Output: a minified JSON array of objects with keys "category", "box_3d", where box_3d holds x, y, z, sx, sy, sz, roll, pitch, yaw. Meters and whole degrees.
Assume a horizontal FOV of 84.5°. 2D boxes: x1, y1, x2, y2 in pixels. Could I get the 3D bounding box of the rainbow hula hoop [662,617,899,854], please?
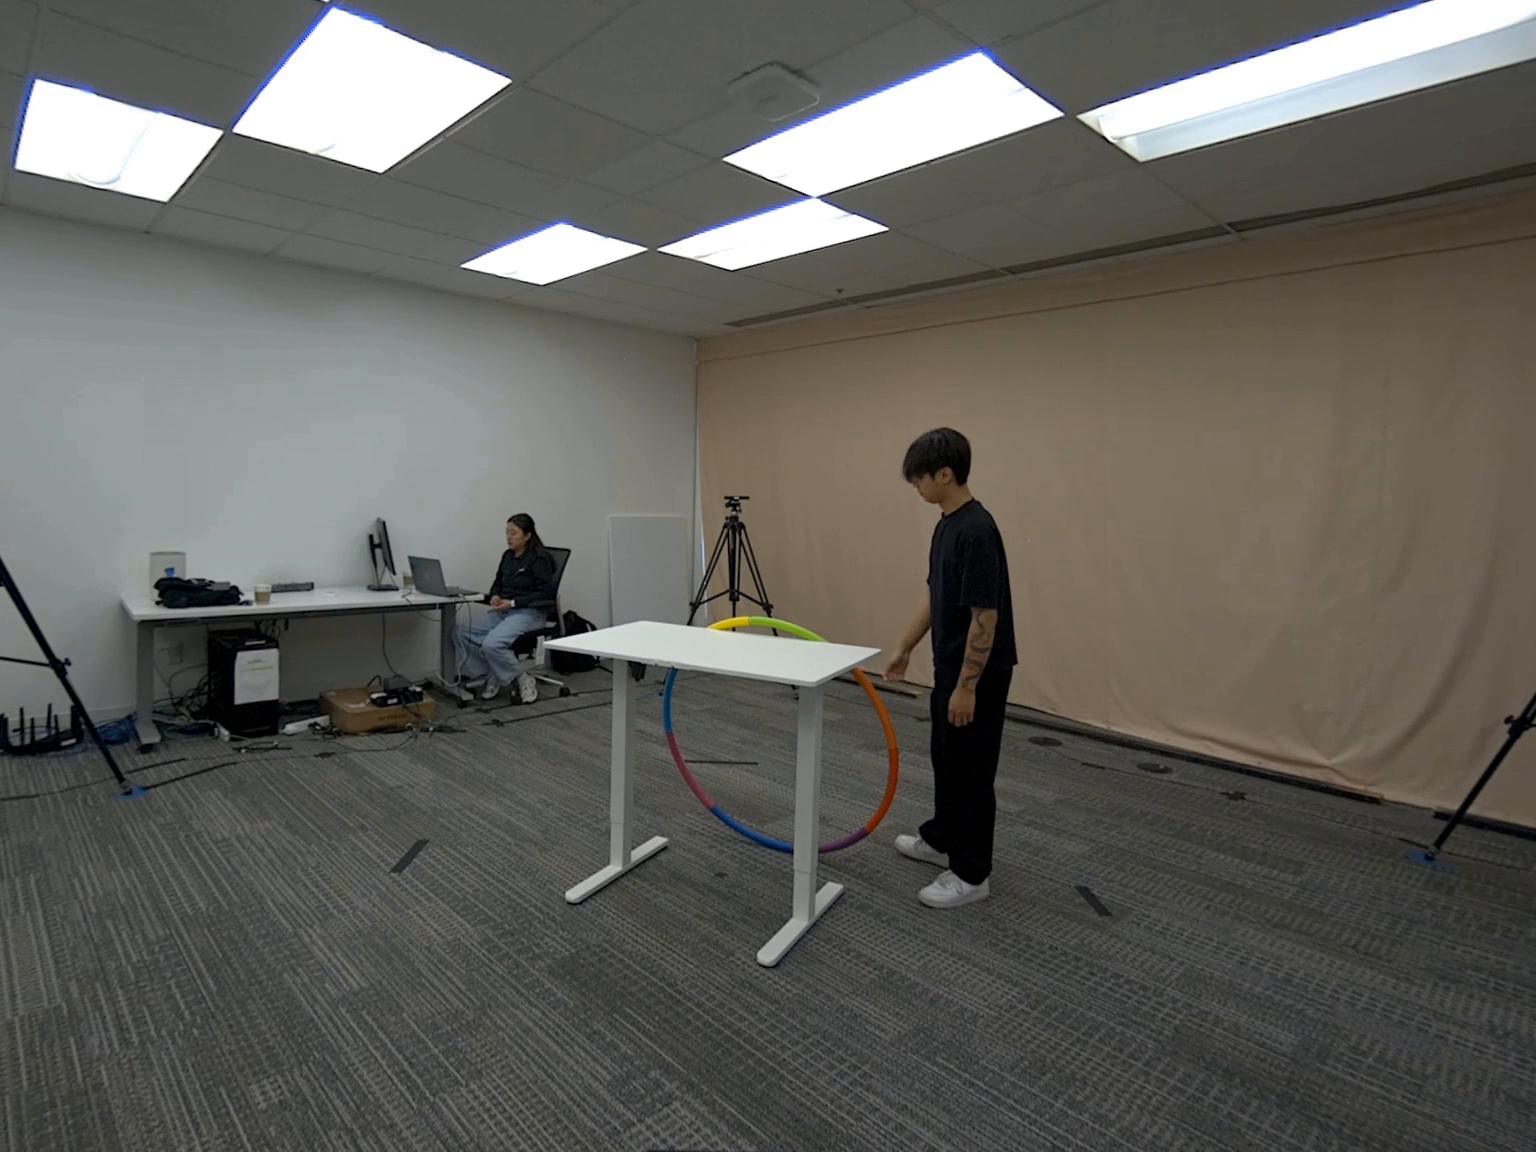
[{"category":"rainbow hula hoop","box_3d":[0.008,0.626,3.236,0.999,0.968,0.035,4,16,28]}]
